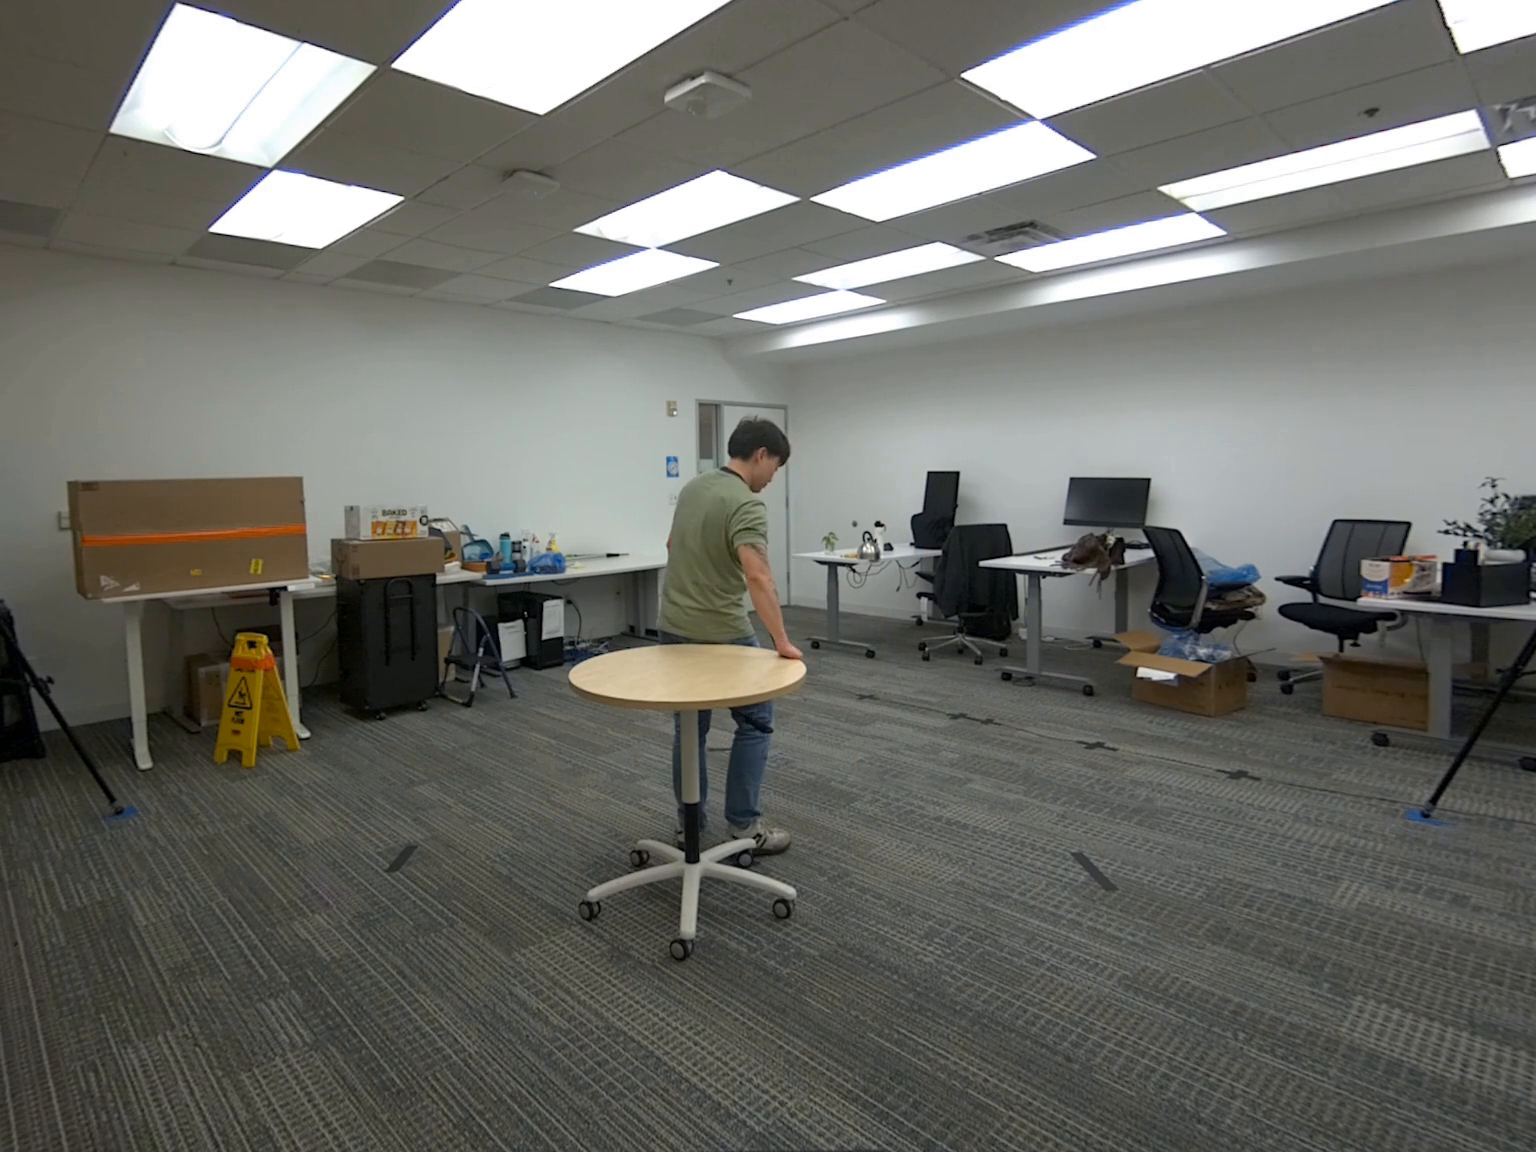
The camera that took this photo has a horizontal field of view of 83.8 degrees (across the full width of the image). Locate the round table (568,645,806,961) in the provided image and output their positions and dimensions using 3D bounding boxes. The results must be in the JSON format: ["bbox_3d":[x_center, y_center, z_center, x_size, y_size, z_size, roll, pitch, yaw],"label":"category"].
[{"bbox_3d":[-0.250,0.695,2.800,0.763,0.790,0.768,-1,6,-2],"label":"round table"}]
